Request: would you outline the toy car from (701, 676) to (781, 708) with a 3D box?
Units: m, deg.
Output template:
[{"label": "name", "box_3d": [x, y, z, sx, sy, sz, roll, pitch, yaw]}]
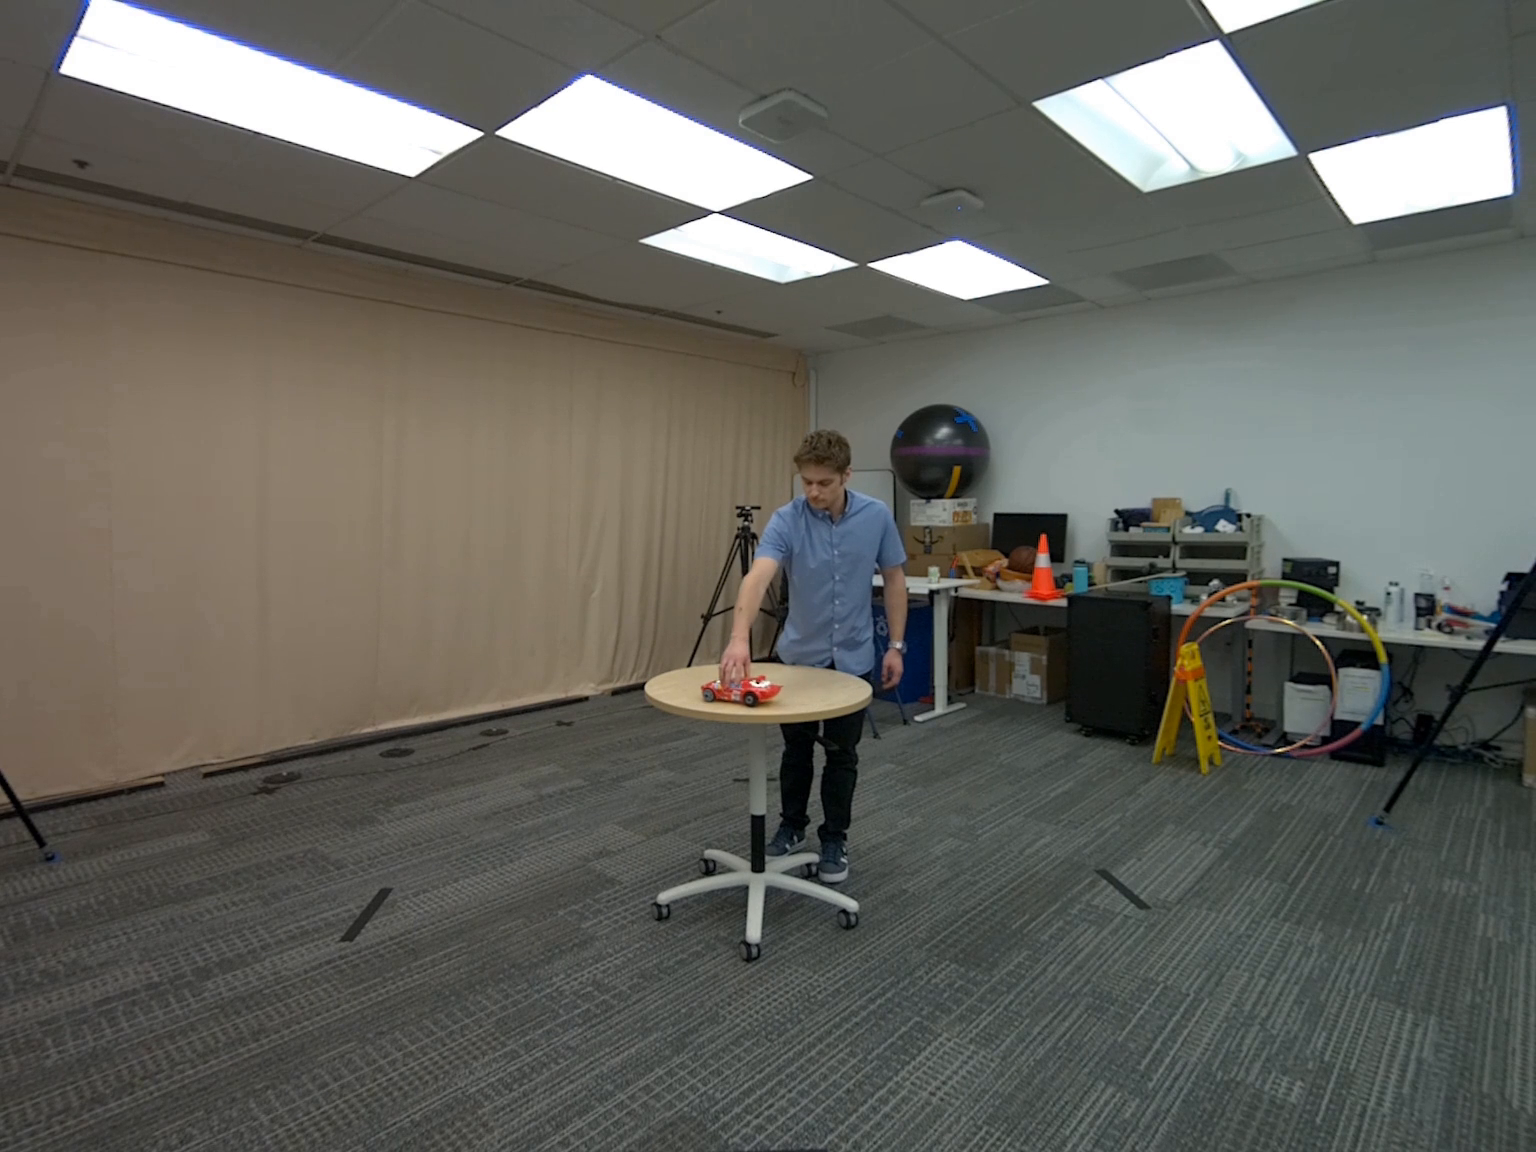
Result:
[{"label": "toy car", "box_3d": [-0.072, 0.364, 2.627, 0.260, 0.083, 0.127, -10, 0, 25]}]
